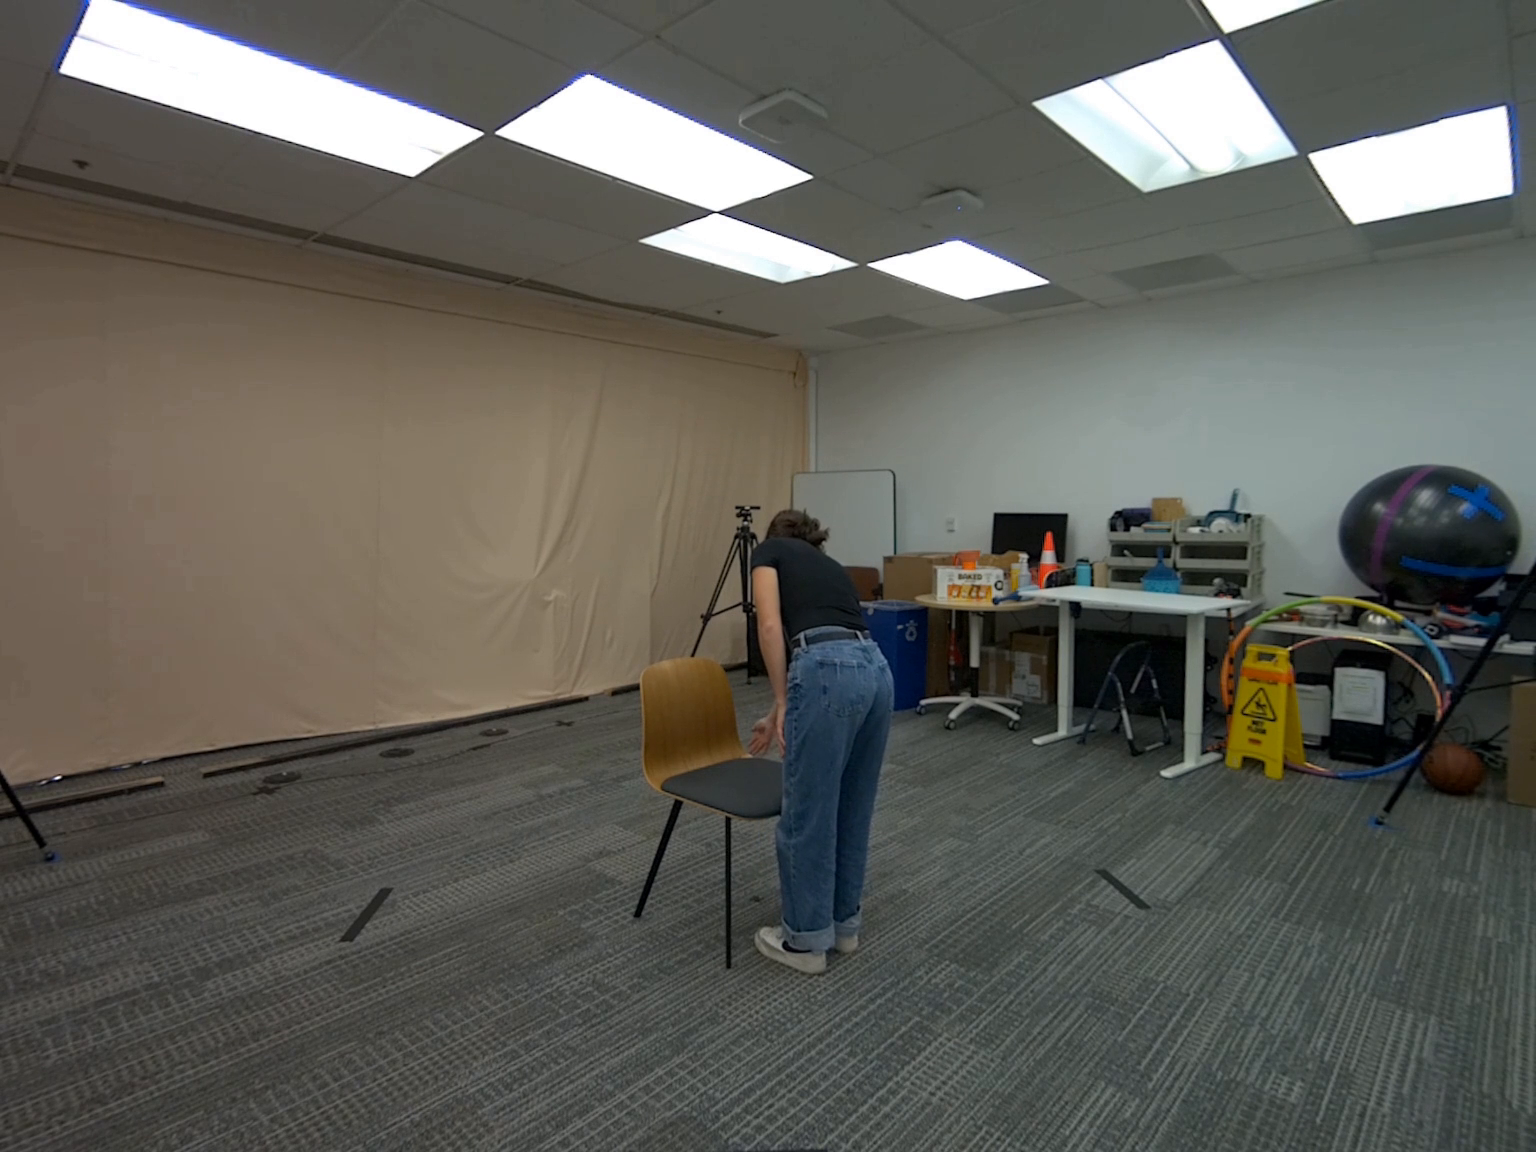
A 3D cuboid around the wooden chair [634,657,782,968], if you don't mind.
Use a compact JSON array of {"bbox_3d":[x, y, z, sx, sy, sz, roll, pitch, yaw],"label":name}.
[{"bbox_3d":[-0.131,0.733,2.815,0.539,0.877,0.463,-2,1,44],"label":"wooden chair"}]
